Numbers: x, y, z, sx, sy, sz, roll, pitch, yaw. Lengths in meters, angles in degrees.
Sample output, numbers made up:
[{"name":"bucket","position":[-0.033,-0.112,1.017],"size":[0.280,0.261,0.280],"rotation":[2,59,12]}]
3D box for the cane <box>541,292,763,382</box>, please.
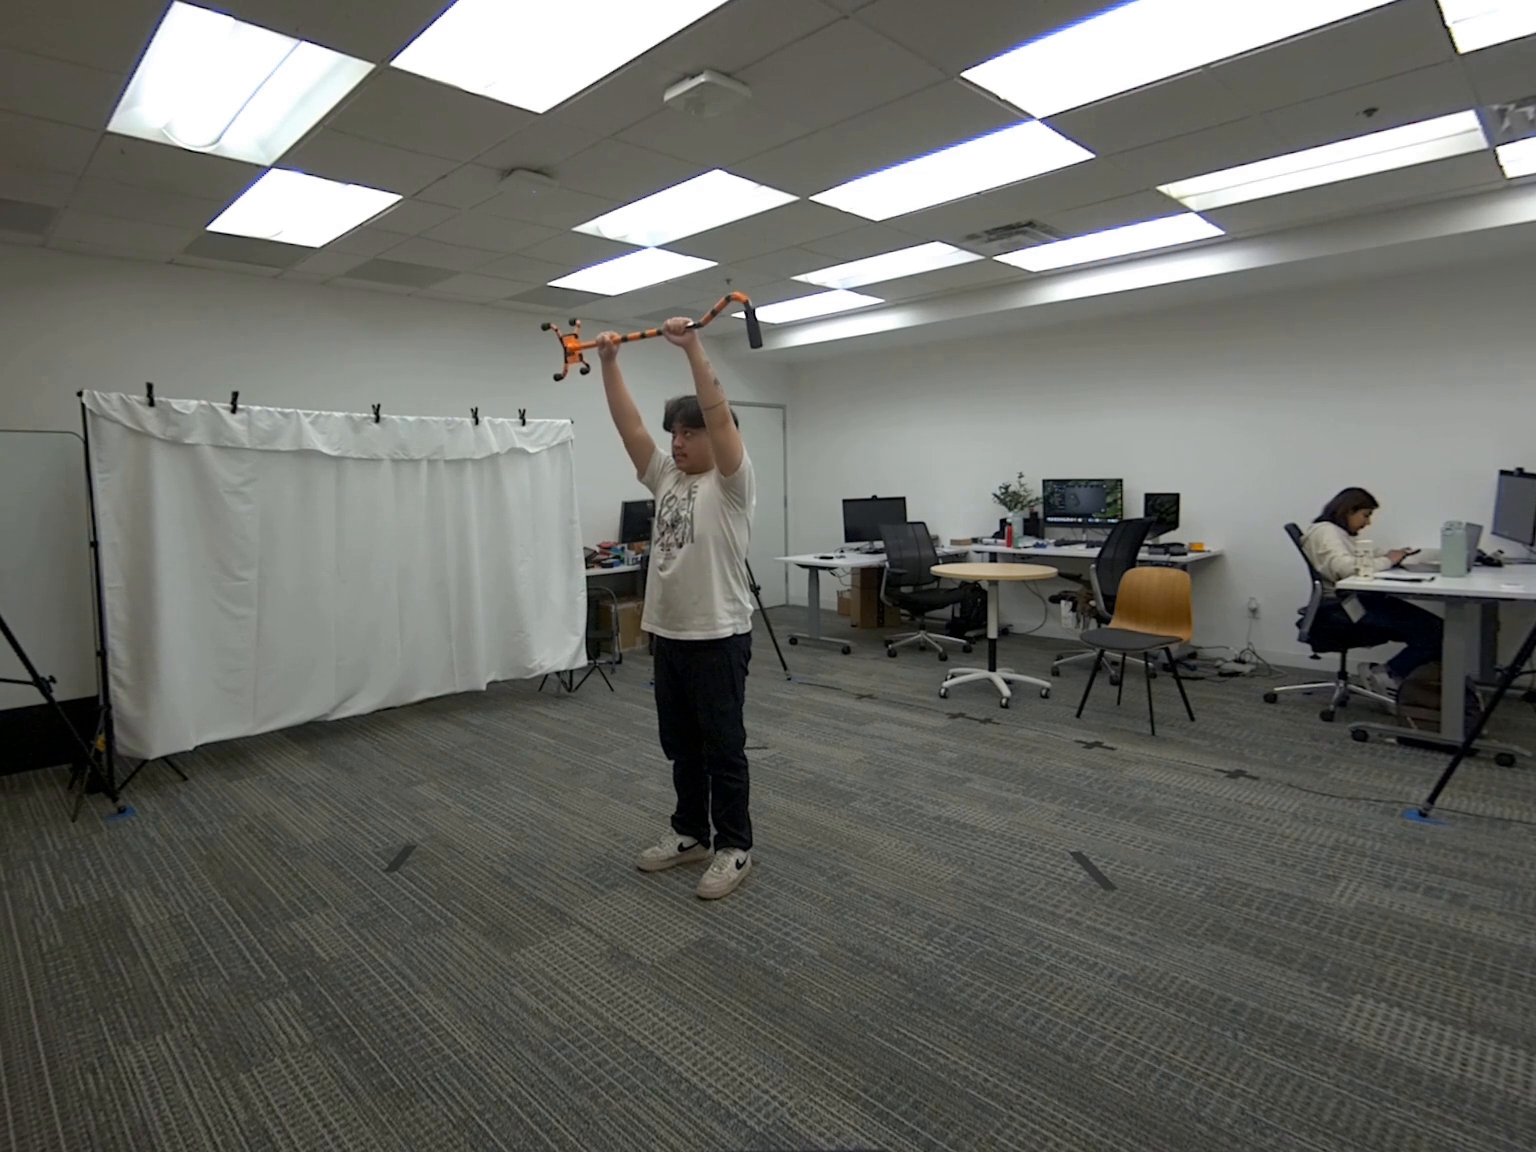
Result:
[{"name":"cane","position":[-0.377,-0.776,2.729],"size":[0.936,0.203,0.149],"rotation":[5,23,42]}]
